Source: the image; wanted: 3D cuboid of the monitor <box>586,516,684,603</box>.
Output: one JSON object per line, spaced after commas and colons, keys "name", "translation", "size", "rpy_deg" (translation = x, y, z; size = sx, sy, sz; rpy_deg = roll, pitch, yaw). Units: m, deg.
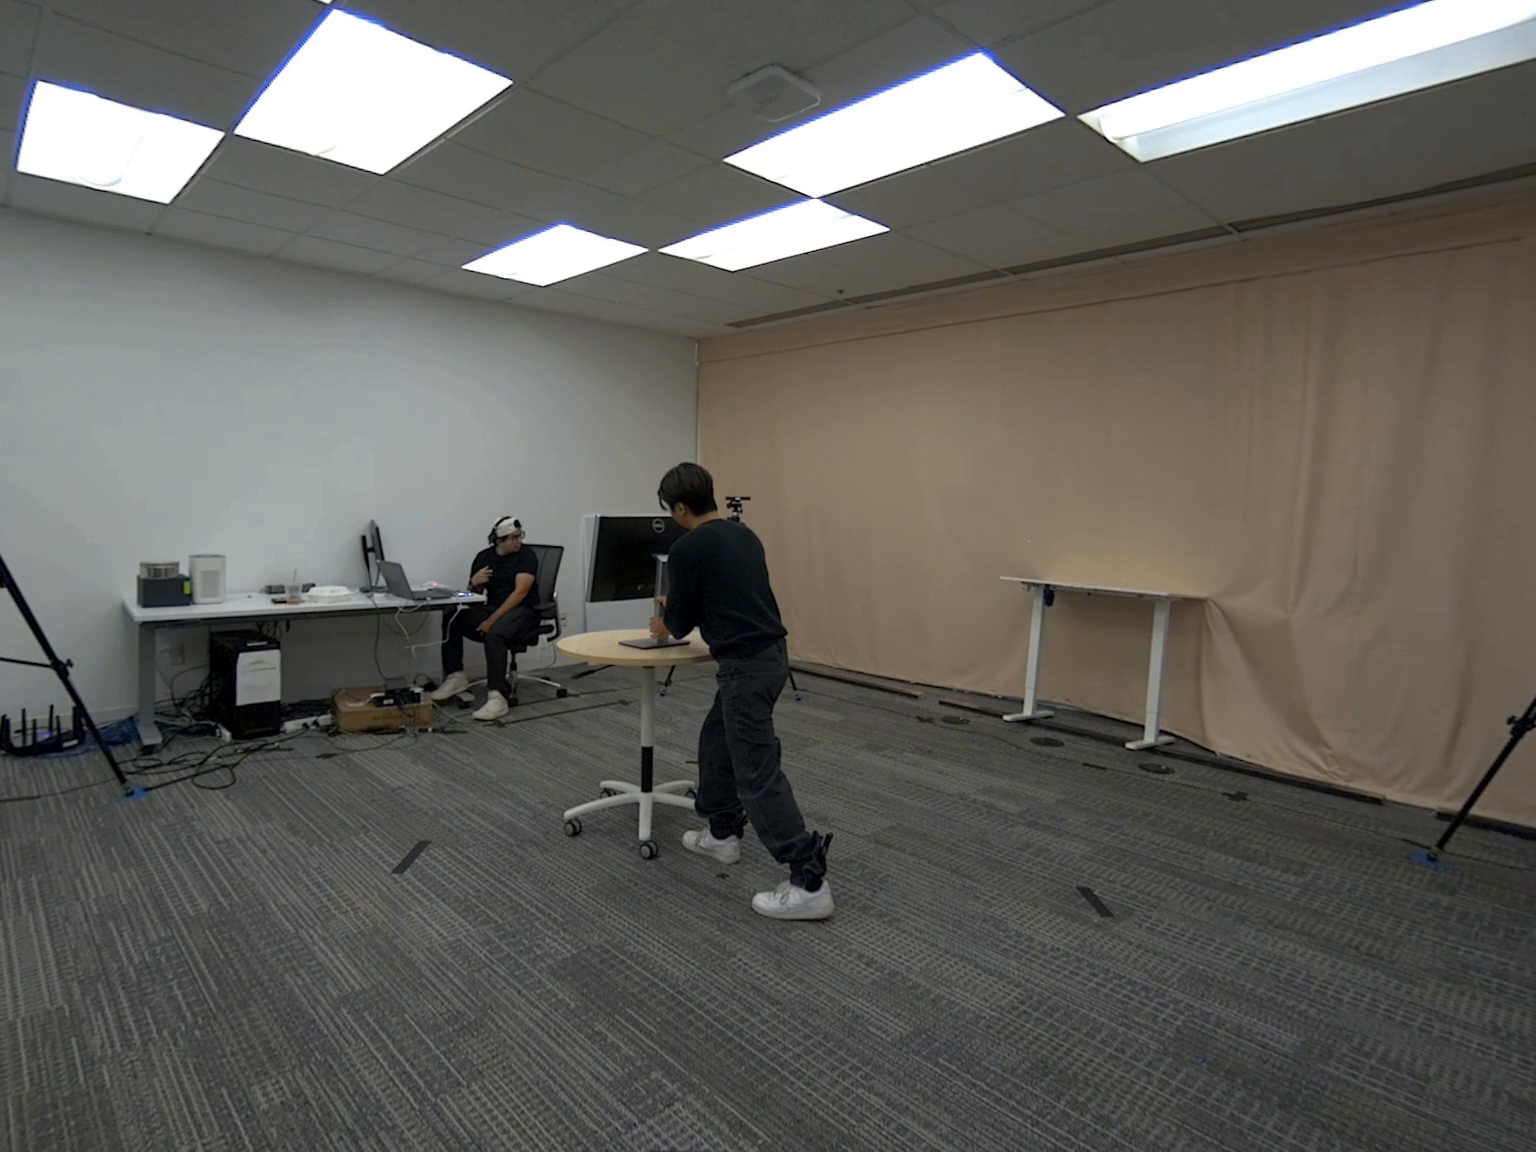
{"name": "monitor", "translation": [-0.477, 0.014, 3.505], "size": [0.518, 0.516, 0.178], "rpy_deg": [-5, 1, -43]}
